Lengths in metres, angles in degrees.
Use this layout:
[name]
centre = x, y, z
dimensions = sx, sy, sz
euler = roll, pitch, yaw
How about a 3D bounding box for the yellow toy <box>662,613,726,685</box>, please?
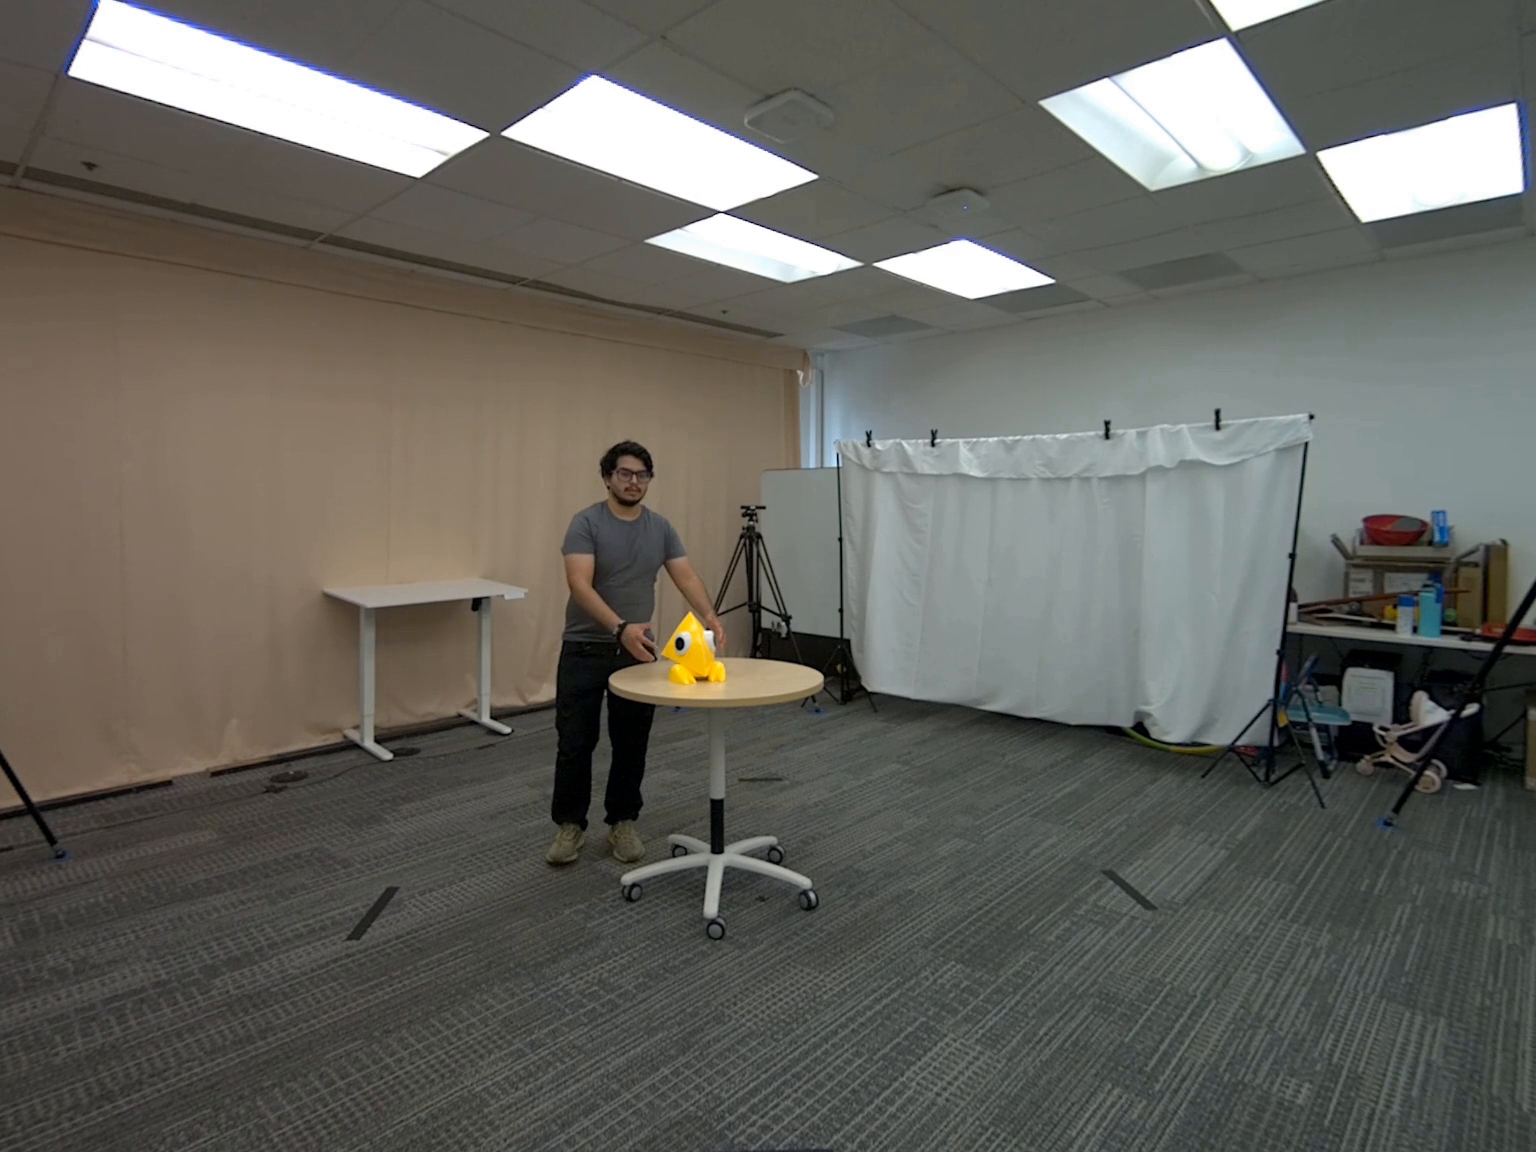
[yellow toy]
centre = -0.250, 0.250, 2.970
dimensions = 0.200, 0.230, 0.197
euler = -1, 3, -21
